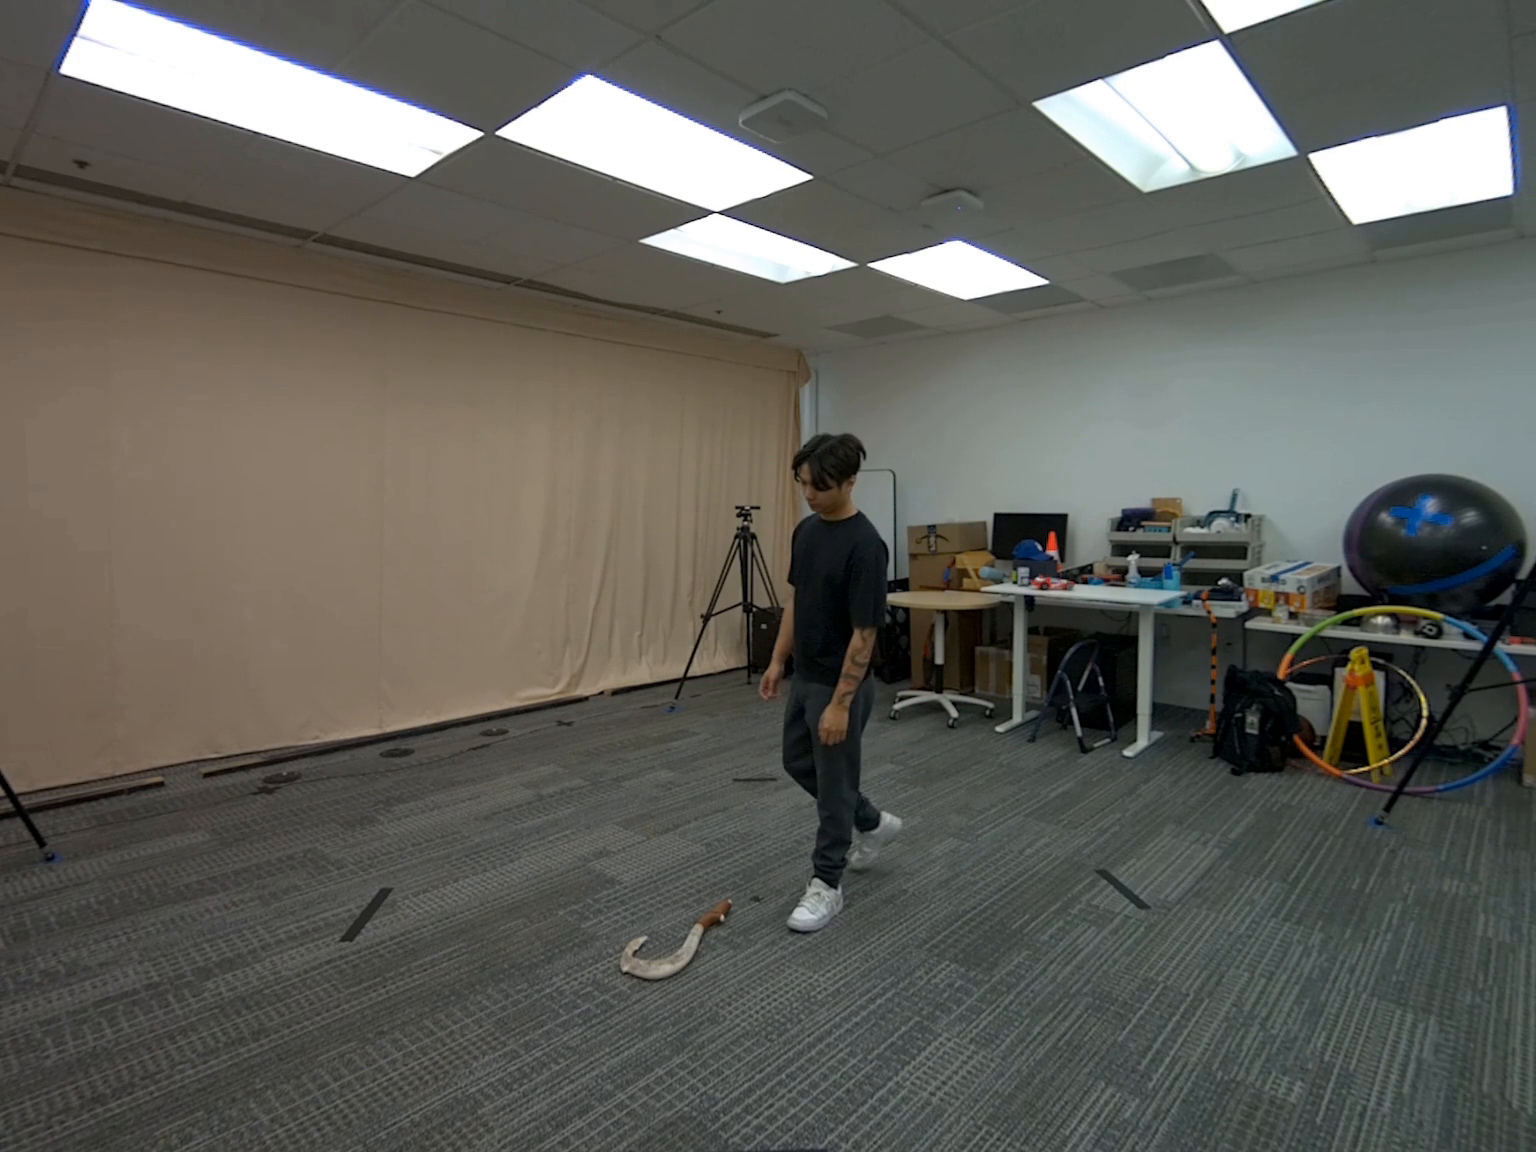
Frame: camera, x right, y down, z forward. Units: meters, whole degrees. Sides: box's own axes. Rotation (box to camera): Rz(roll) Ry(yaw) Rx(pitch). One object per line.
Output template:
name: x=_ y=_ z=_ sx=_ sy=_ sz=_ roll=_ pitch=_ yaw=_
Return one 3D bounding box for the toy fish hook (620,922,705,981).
toy fish hook: x=-0.288 y=1.148 z=2.699 sx=0.231 sy=0.048 sz=0.494 roll=3 pitch=5 yaw=26
